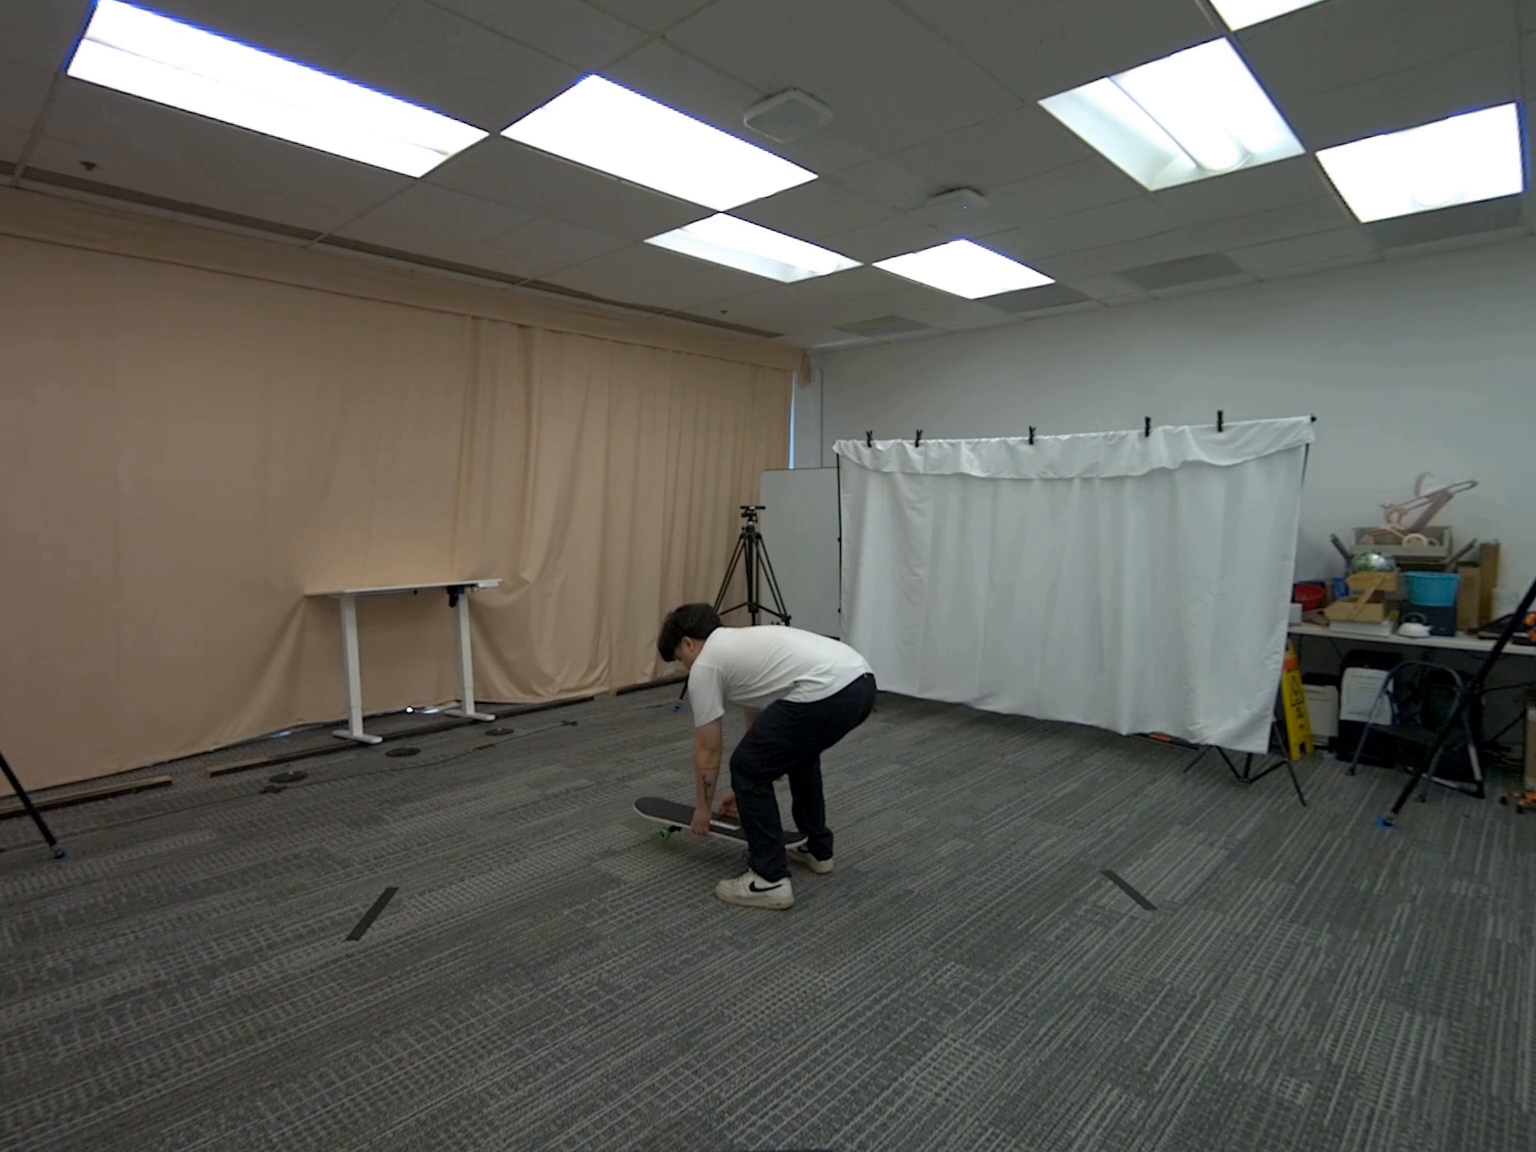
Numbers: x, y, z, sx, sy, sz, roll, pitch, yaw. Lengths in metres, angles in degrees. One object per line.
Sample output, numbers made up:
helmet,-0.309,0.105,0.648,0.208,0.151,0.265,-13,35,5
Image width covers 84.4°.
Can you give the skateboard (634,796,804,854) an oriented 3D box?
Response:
skateboard,-0.204,0.999,3.311,0.809,0.110,0.188,4,4,33
